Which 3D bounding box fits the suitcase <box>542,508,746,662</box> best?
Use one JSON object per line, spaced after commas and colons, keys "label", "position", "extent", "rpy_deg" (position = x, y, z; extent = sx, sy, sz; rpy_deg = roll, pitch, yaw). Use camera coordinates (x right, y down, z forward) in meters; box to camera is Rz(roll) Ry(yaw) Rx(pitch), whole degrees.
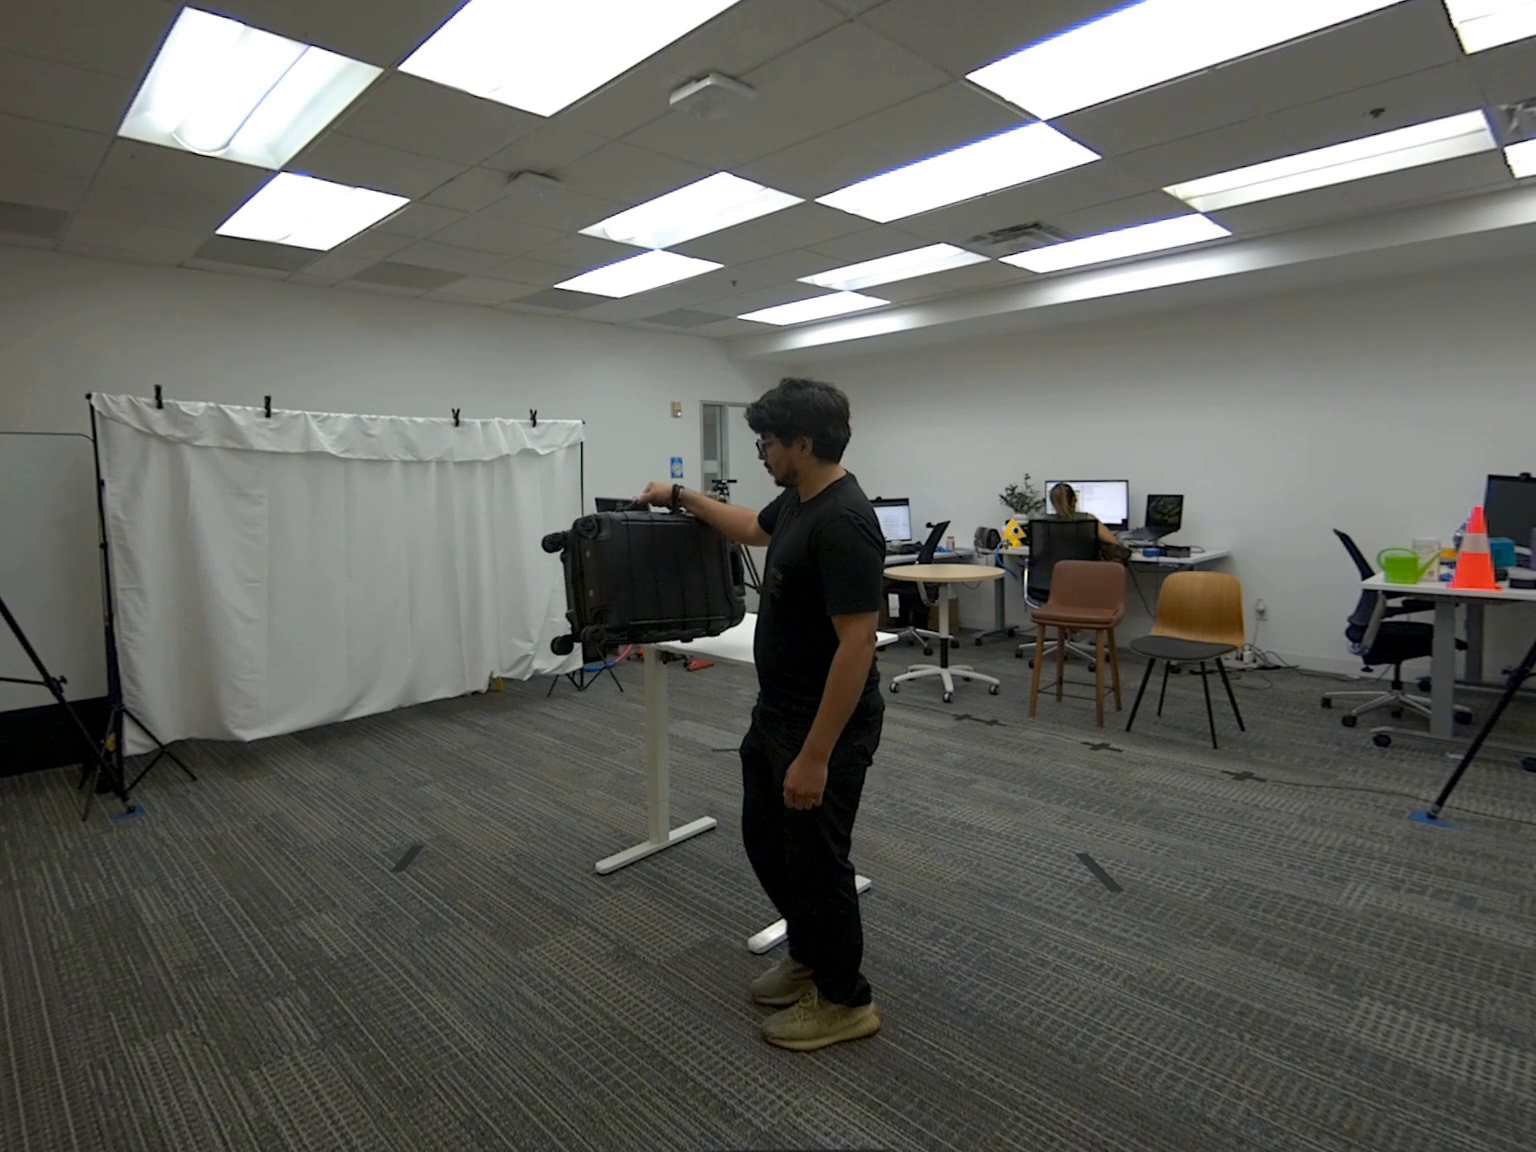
{"label": "suitcase", "position": [-0.338, 0.008, 2.480], "extent": [0.535, 0.379, 0.253], "rpy_deg": [-2, -10, -36]}
